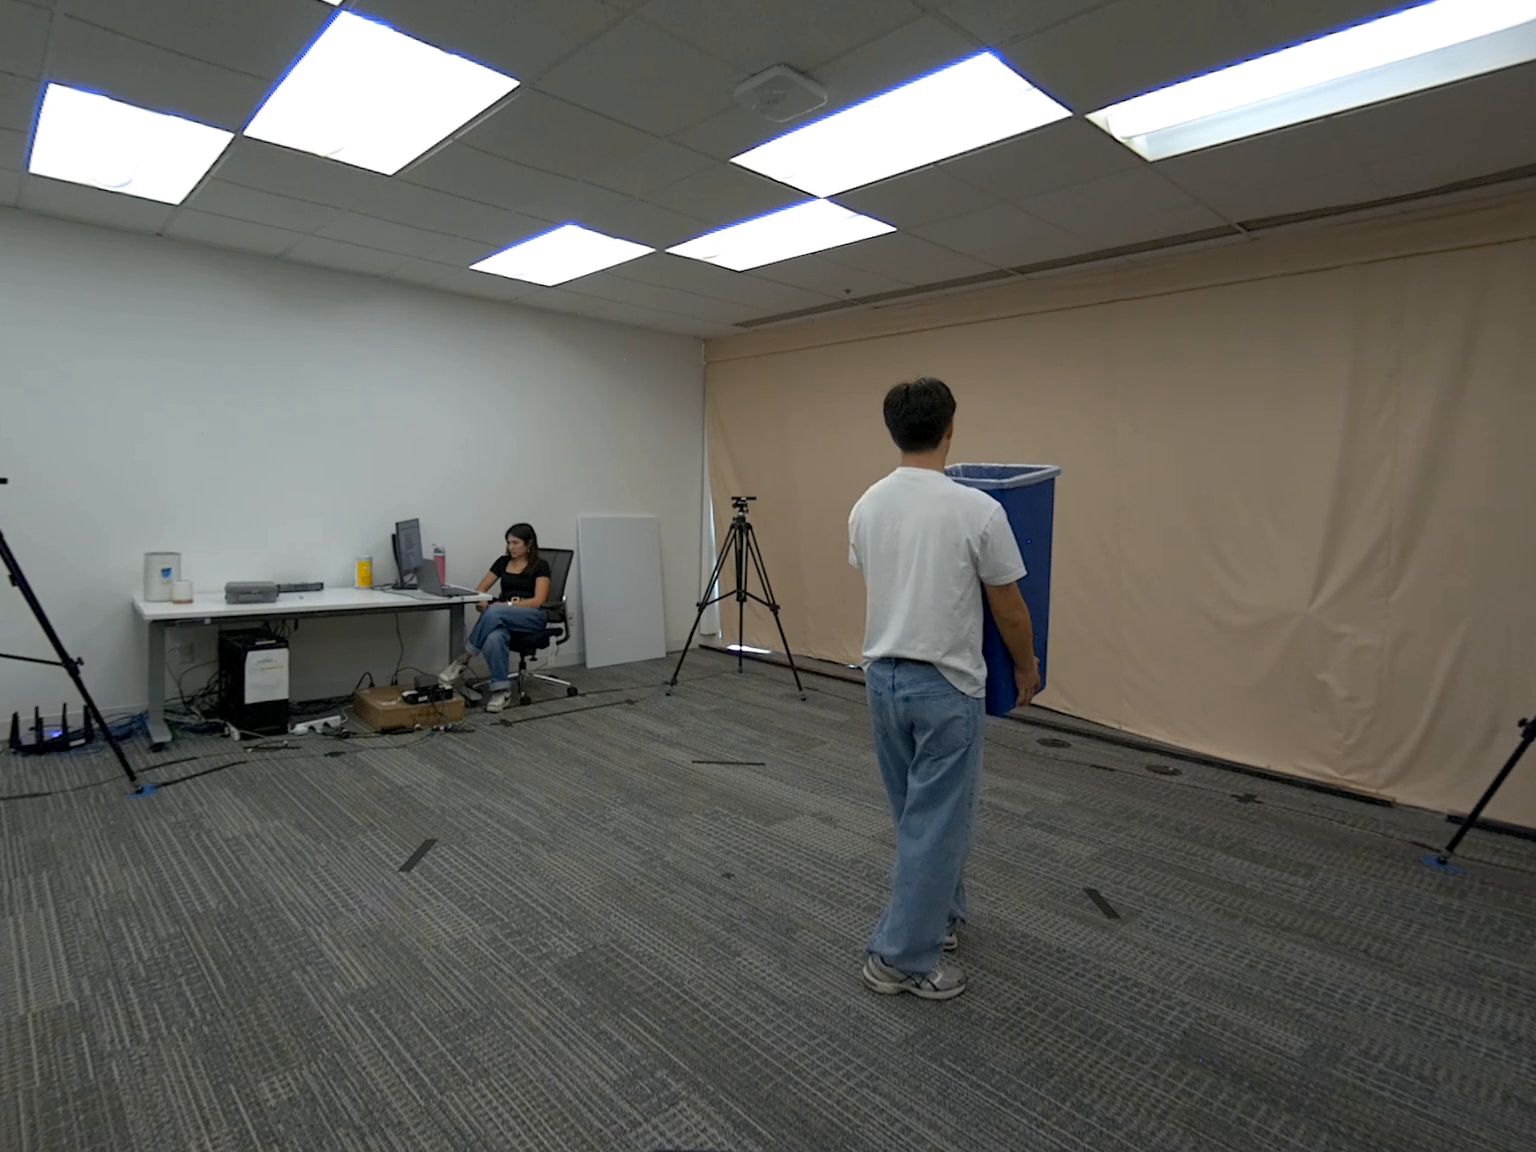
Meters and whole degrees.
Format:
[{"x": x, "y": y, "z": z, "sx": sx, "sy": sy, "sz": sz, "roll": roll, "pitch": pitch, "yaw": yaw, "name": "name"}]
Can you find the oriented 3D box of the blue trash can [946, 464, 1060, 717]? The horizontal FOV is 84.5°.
[{"x": 0.673, "y": 0.021, "z": 2.645, "sx": 0.384, "sy": 0.707, "sz": 0.371, "roll": 6, "pitch": 15, "yaw": 43, "name": "blue trash can"}]
